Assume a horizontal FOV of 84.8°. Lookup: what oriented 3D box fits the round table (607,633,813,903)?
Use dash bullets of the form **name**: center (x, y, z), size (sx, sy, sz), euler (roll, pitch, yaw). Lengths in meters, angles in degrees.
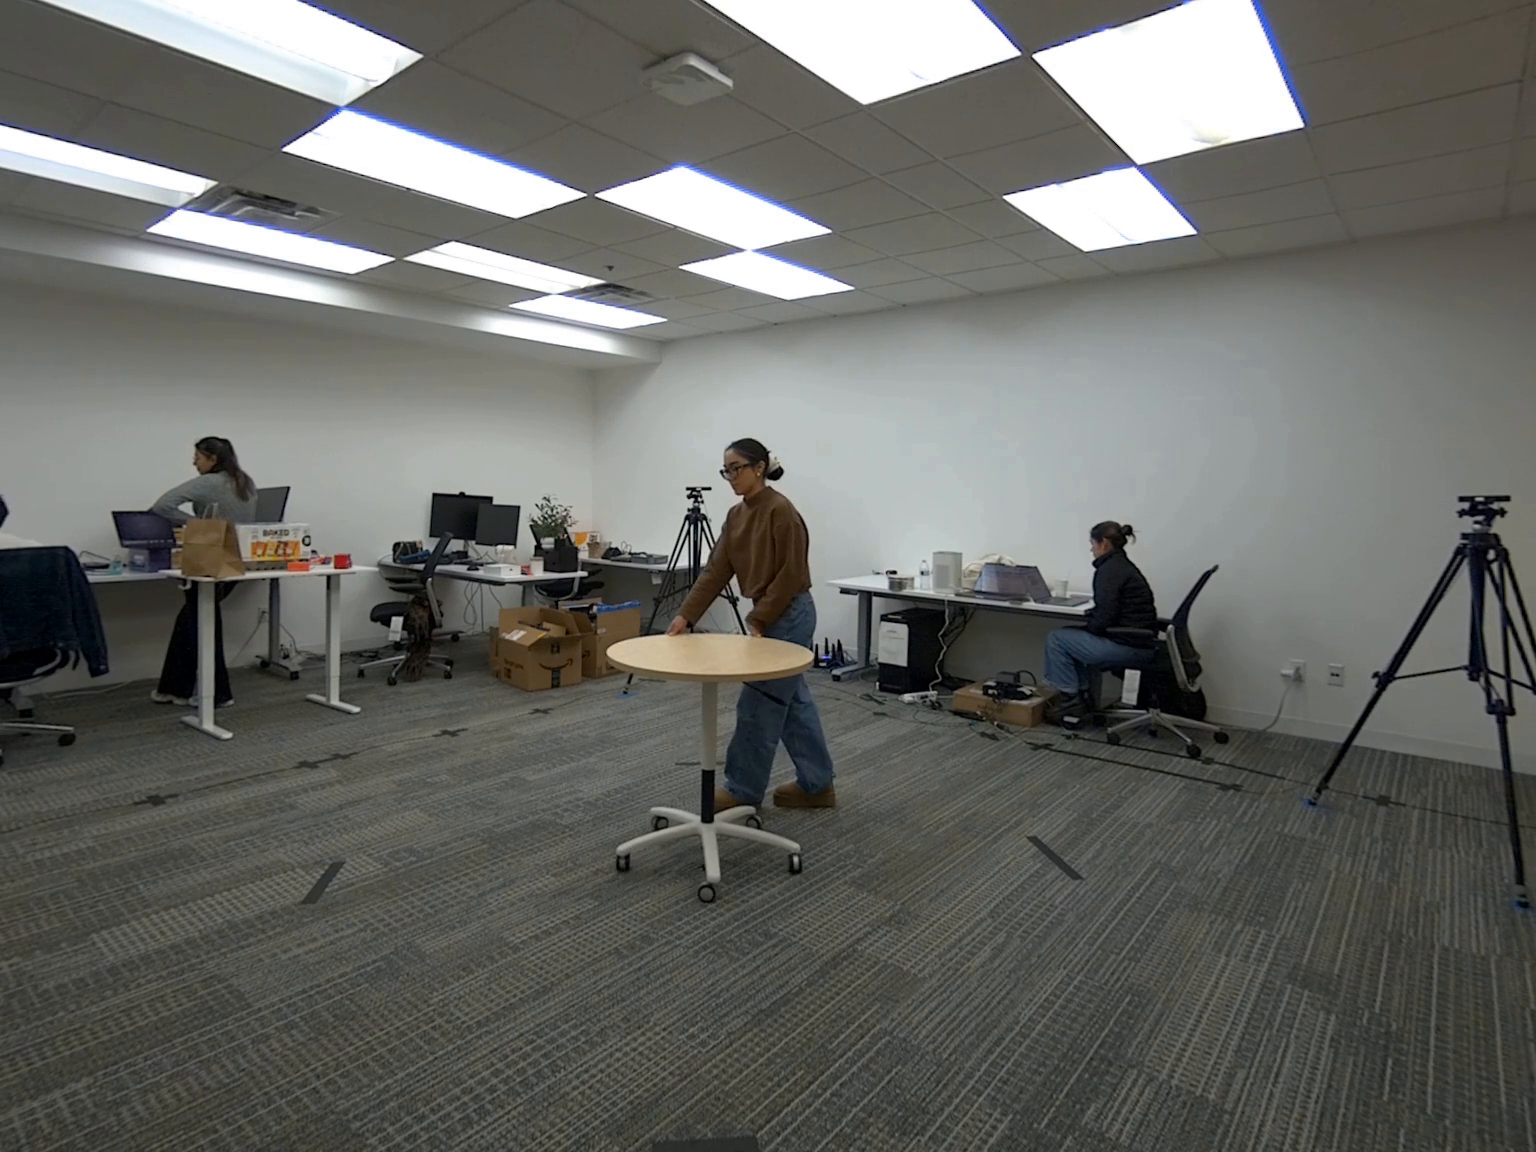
- **round table**: center (-0.222, 0.665, 3.163), size (0.784, 0.784, 0.789), euler (1, 4, -2)
